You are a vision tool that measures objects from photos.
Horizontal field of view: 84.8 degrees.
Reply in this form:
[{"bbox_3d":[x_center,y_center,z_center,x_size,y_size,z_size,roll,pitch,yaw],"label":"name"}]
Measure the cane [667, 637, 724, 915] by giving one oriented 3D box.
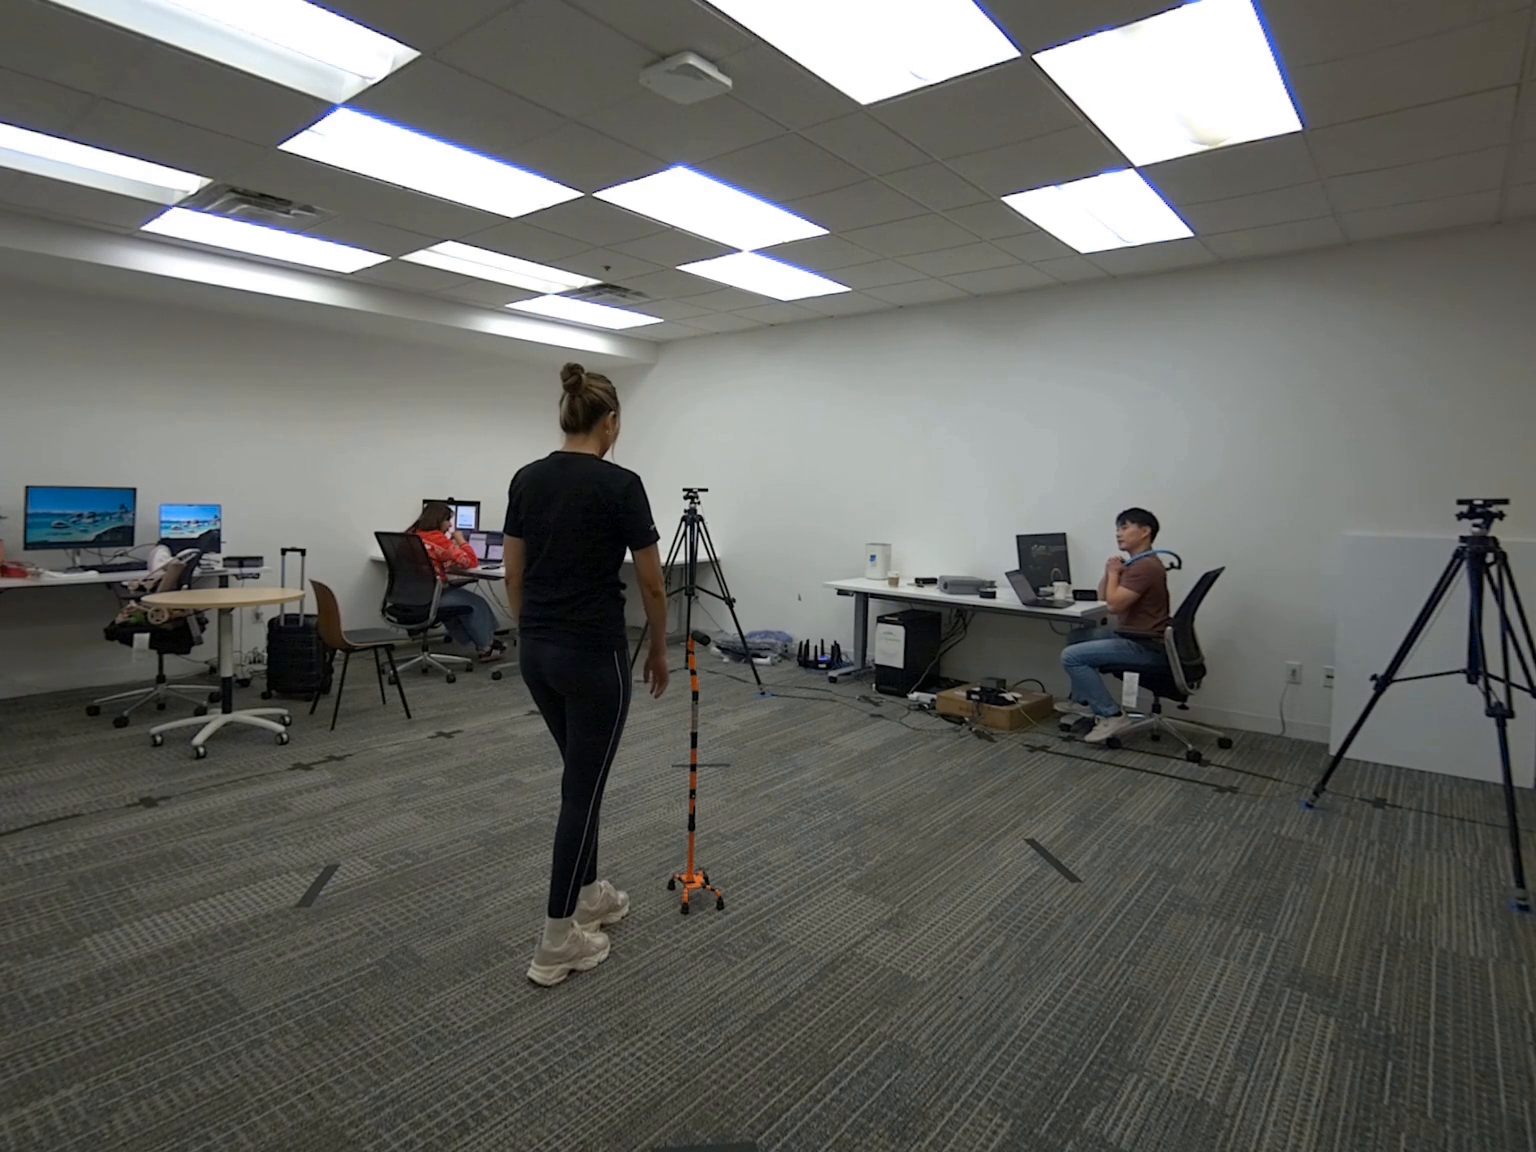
[{"bbox_3d":[-0.248,0.638,2.865,0.149,0.906,0.211,0,3,-20],"label":"cane"}]
